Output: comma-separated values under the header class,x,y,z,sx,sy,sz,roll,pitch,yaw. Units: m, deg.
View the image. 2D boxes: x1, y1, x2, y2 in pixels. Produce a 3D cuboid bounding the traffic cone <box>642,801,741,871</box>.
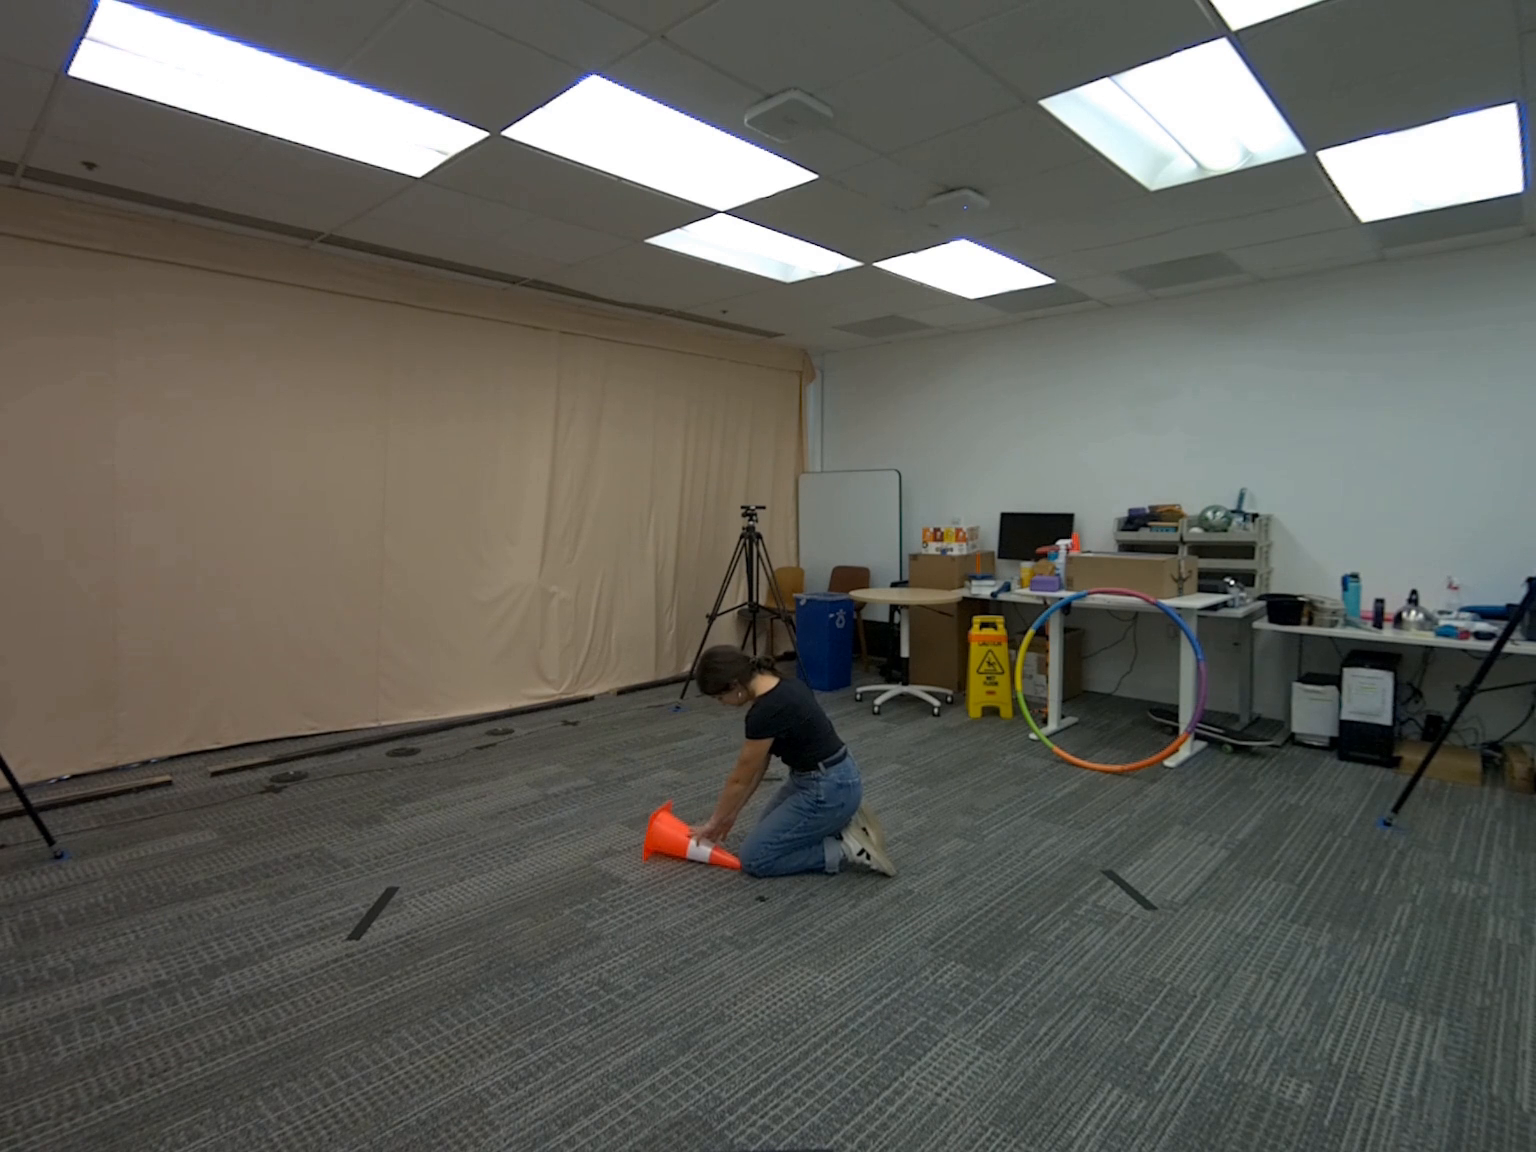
class,x,y,z,sx,sy,sz,roll,pitch,yaw
traffic cone,-0.266,1.071,3.314,0.393,0.202,0.200,14,9,22
